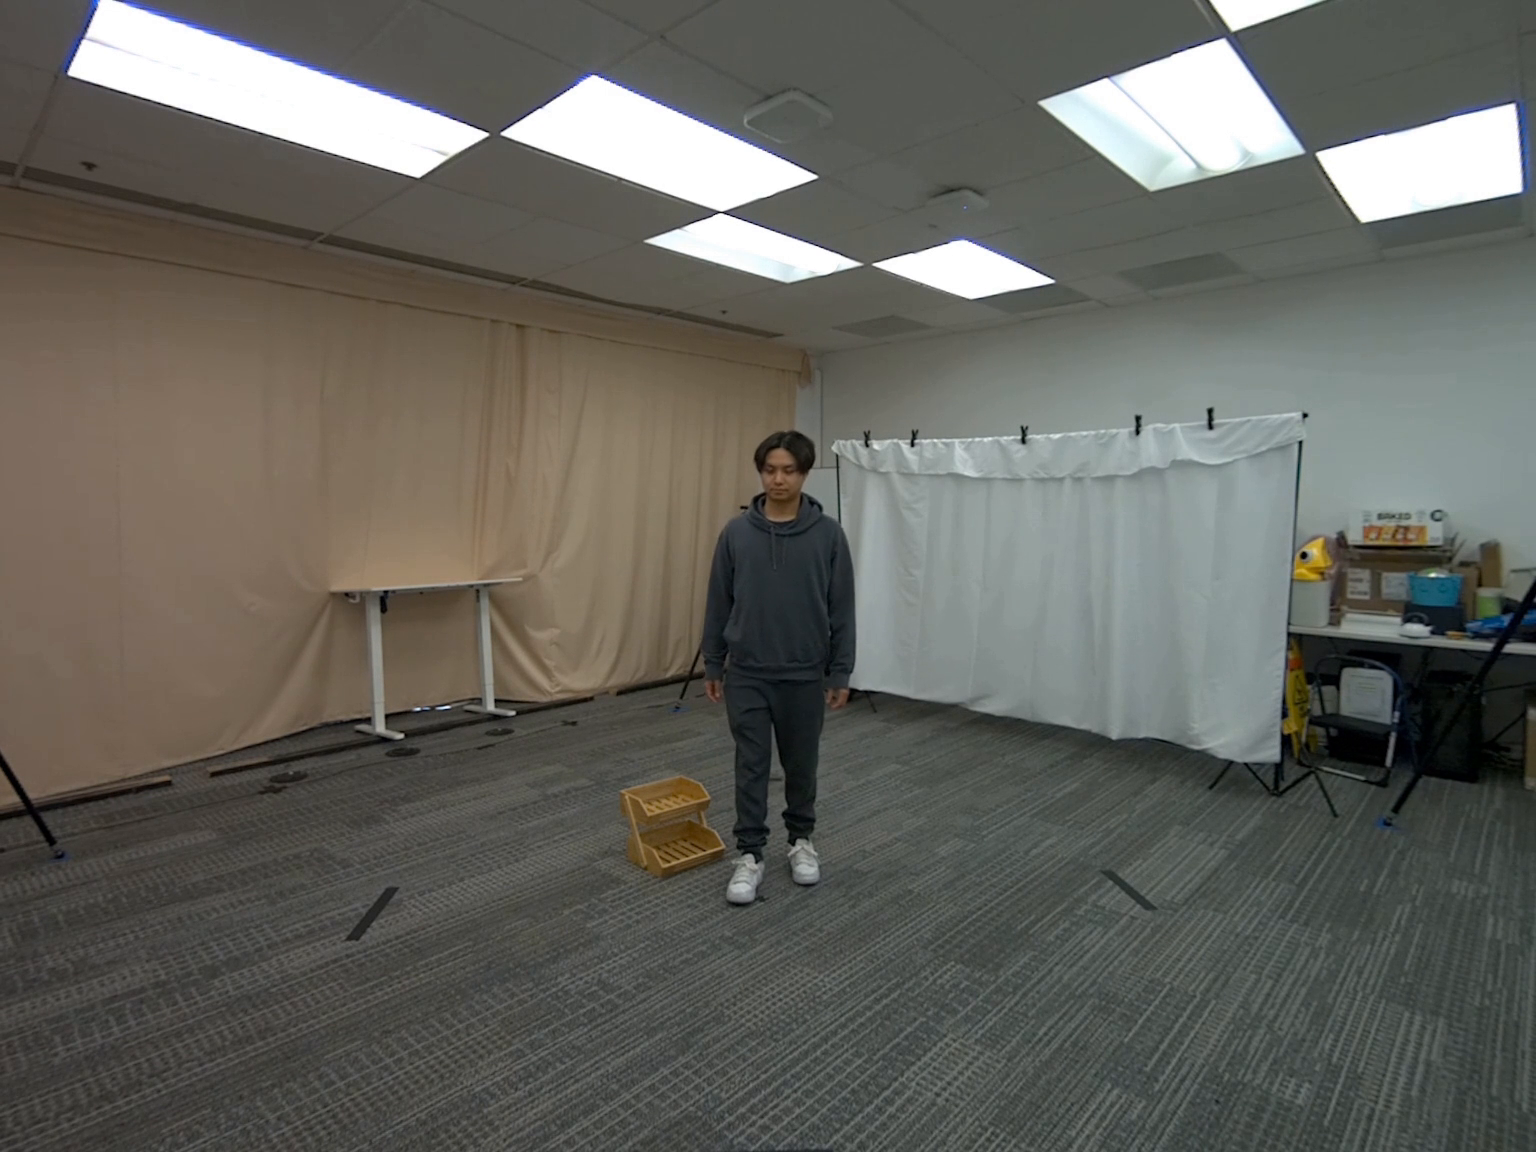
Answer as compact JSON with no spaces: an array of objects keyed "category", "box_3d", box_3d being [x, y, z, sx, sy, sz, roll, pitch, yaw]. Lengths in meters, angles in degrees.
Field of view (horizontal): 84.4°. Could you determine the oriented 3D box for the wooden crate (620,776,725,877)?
[{"category":"wooden crate","box_3d":[-0.379,0.982,3.342,0.315,0.273,0.312,-3,4,-39]}]
